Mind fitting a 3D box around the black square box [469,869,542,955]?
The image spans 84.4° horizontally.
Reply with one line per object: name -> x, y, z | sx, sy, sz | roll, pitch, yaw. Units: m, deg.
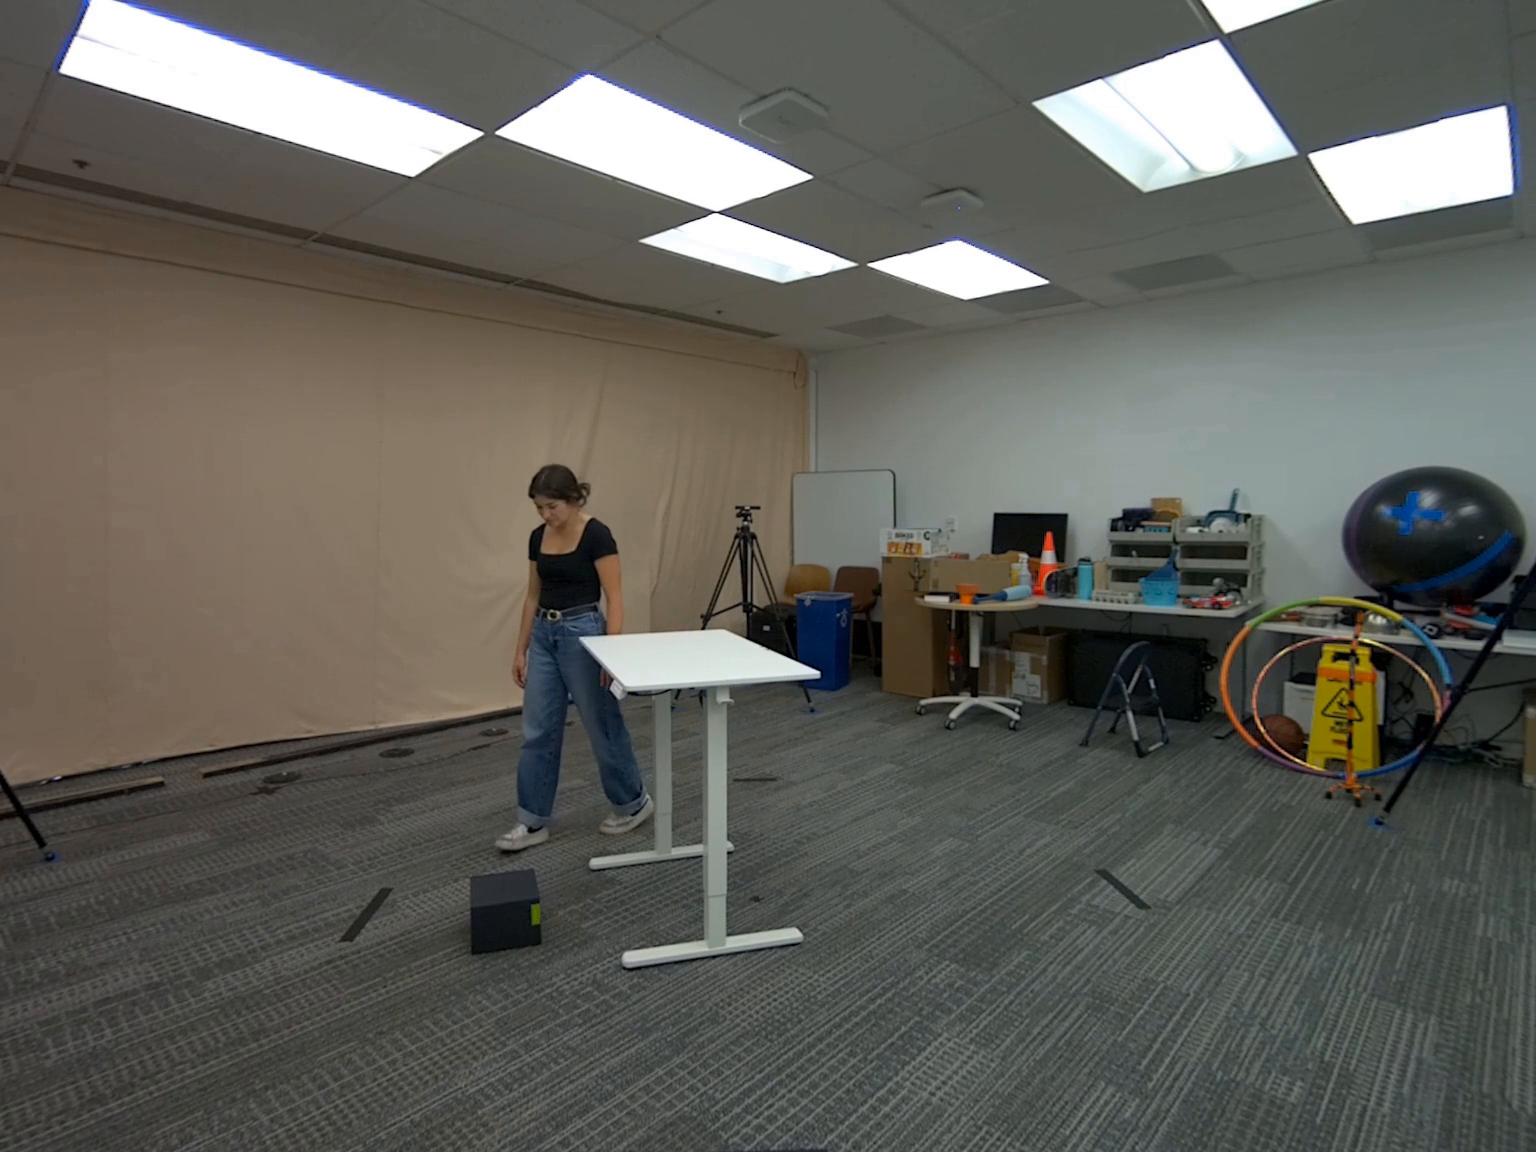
black square box -> -0.863, 1.087, 2.747 | 0.213, 0.155, 0.233 | -2, 4, -19
